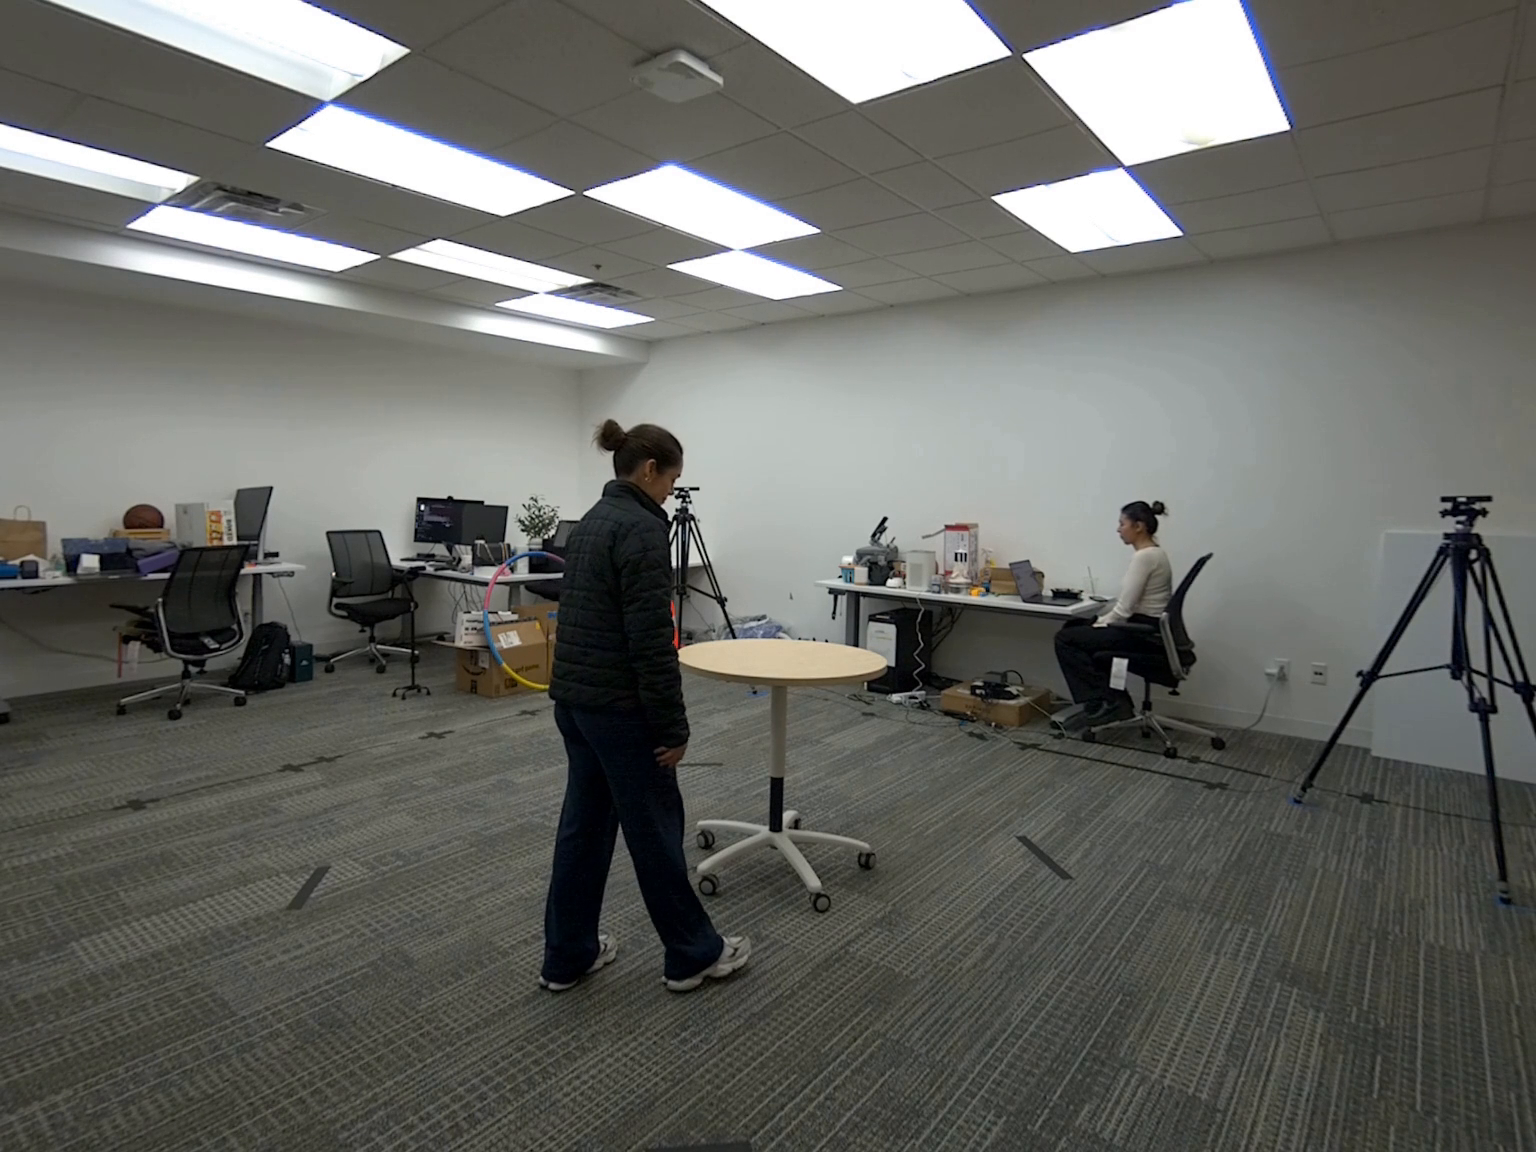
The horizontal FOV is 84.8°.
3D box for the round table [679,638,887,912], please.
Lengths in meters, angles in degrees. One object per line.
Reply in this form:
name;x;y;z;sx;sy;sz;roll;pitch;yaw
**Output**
round table;0.053;0.678;3.107;0.784;0.785;0.788;1;3;-2
